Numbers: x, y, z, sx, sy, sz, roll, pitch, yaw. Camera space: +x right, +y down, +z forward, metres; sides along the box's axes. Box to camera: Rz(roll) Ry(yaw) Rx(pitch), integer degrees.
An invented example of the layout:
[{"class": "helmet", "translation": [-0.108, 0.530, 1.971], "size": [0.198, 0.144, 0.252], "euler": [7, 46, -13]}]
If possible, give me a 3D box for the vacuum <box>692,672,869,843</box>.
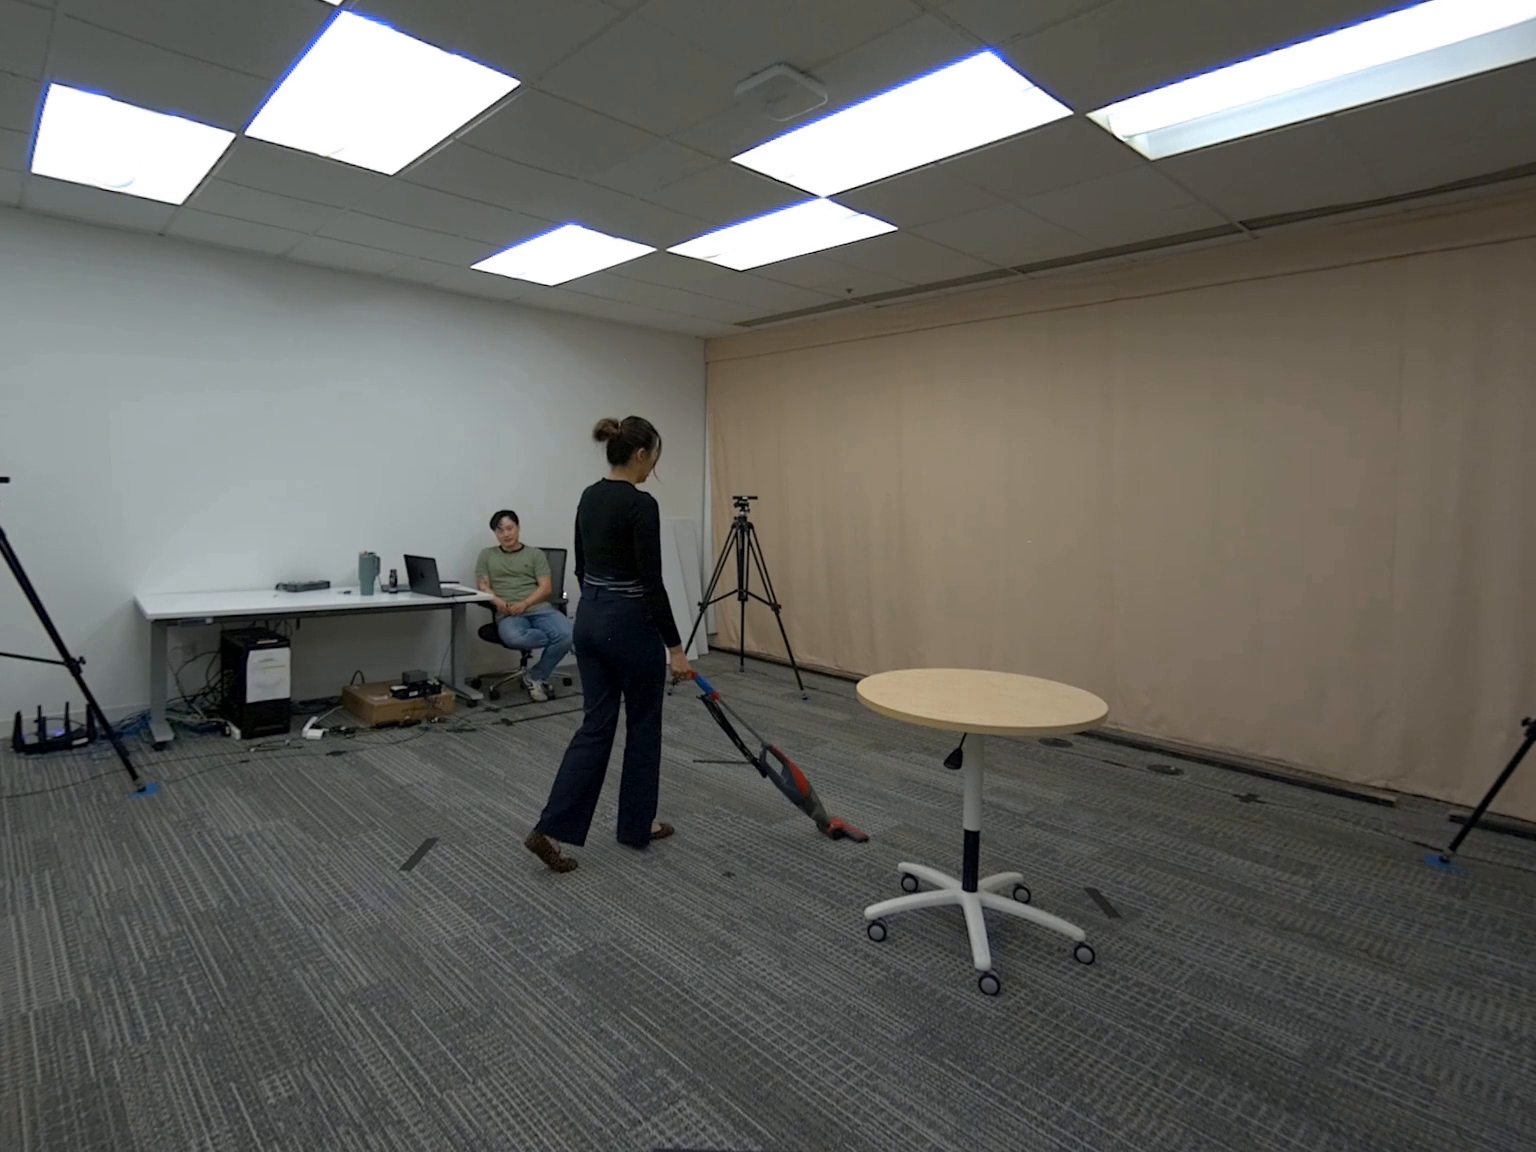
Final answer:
[{"class": "vacuum", "translation": [-0.029, 0.719, 3.364], "size": [1.027, 0.144, 0.257], "euler": [47, -23, -21]}]
